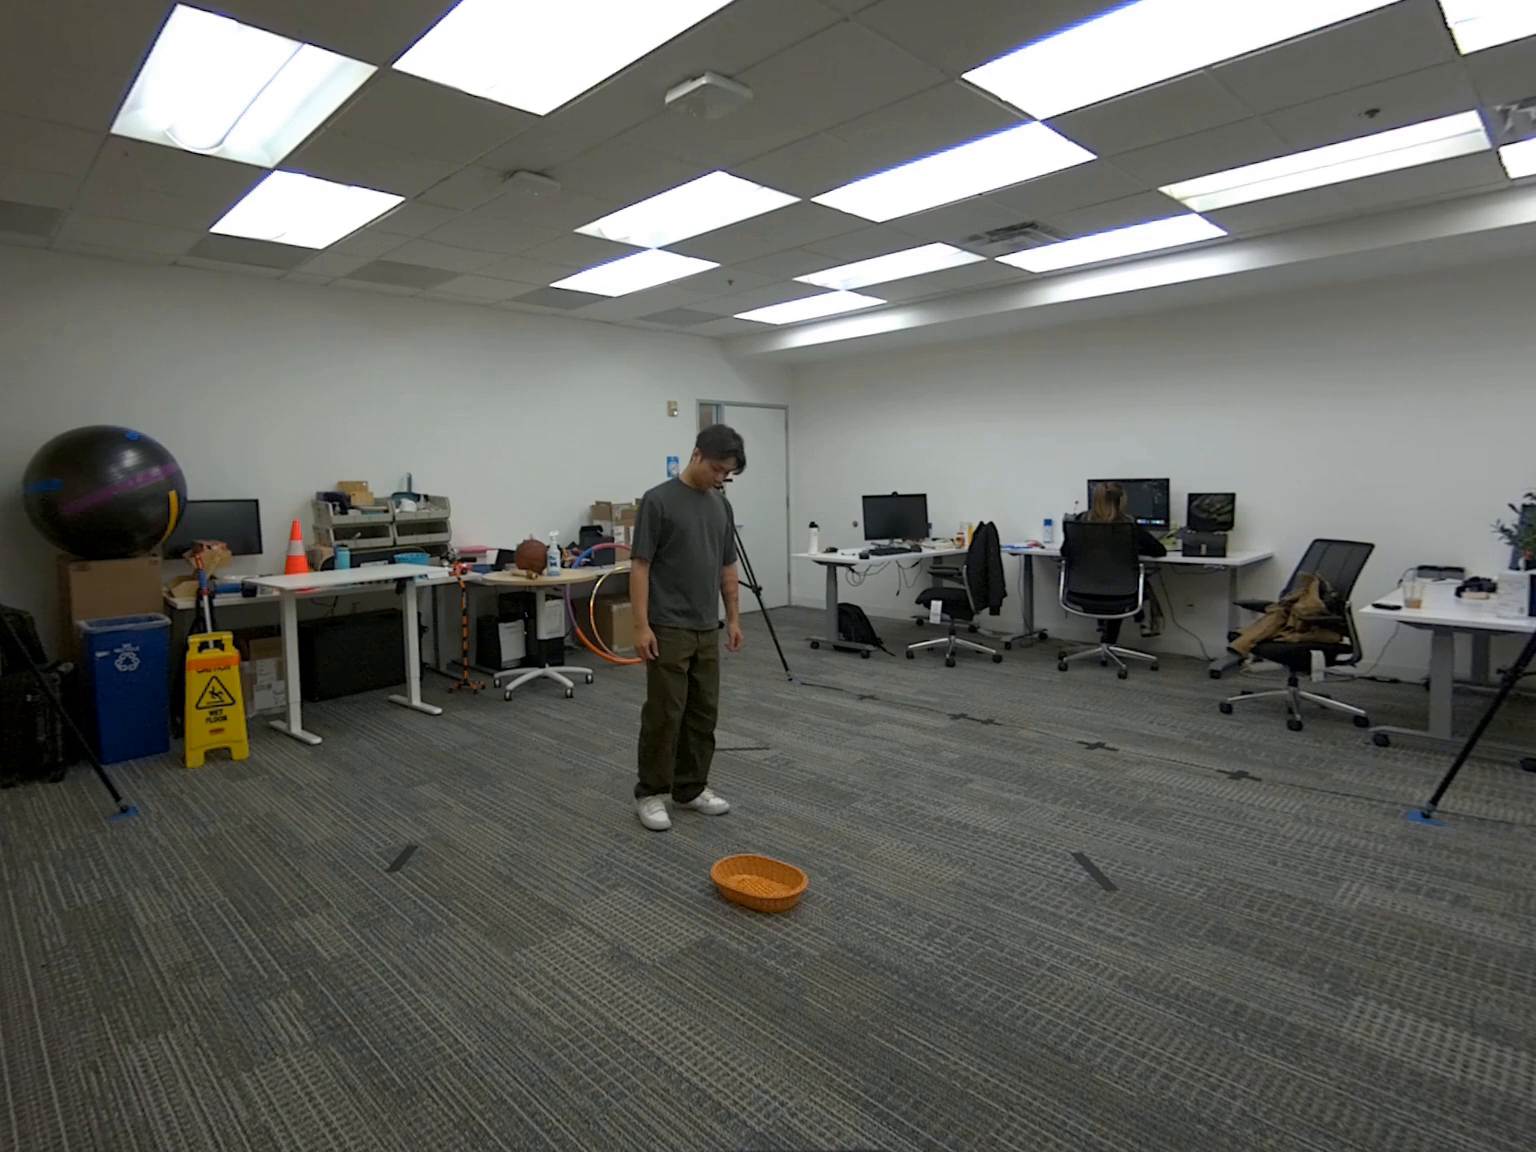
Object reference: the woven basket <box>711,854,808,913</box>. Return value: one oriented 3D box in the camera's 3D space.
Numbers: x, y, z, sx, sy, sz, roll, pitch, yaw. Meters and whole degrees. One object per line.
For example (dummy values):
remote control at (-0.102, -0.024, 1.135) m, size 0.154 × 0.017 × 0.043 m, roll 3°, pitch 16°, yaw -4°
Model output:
woven basket at (-0.031, 1.034, 2.867) m, size 0.361 × 0.073 × 0.246 m, roll 4°, pitch 9°, yaw 40°
